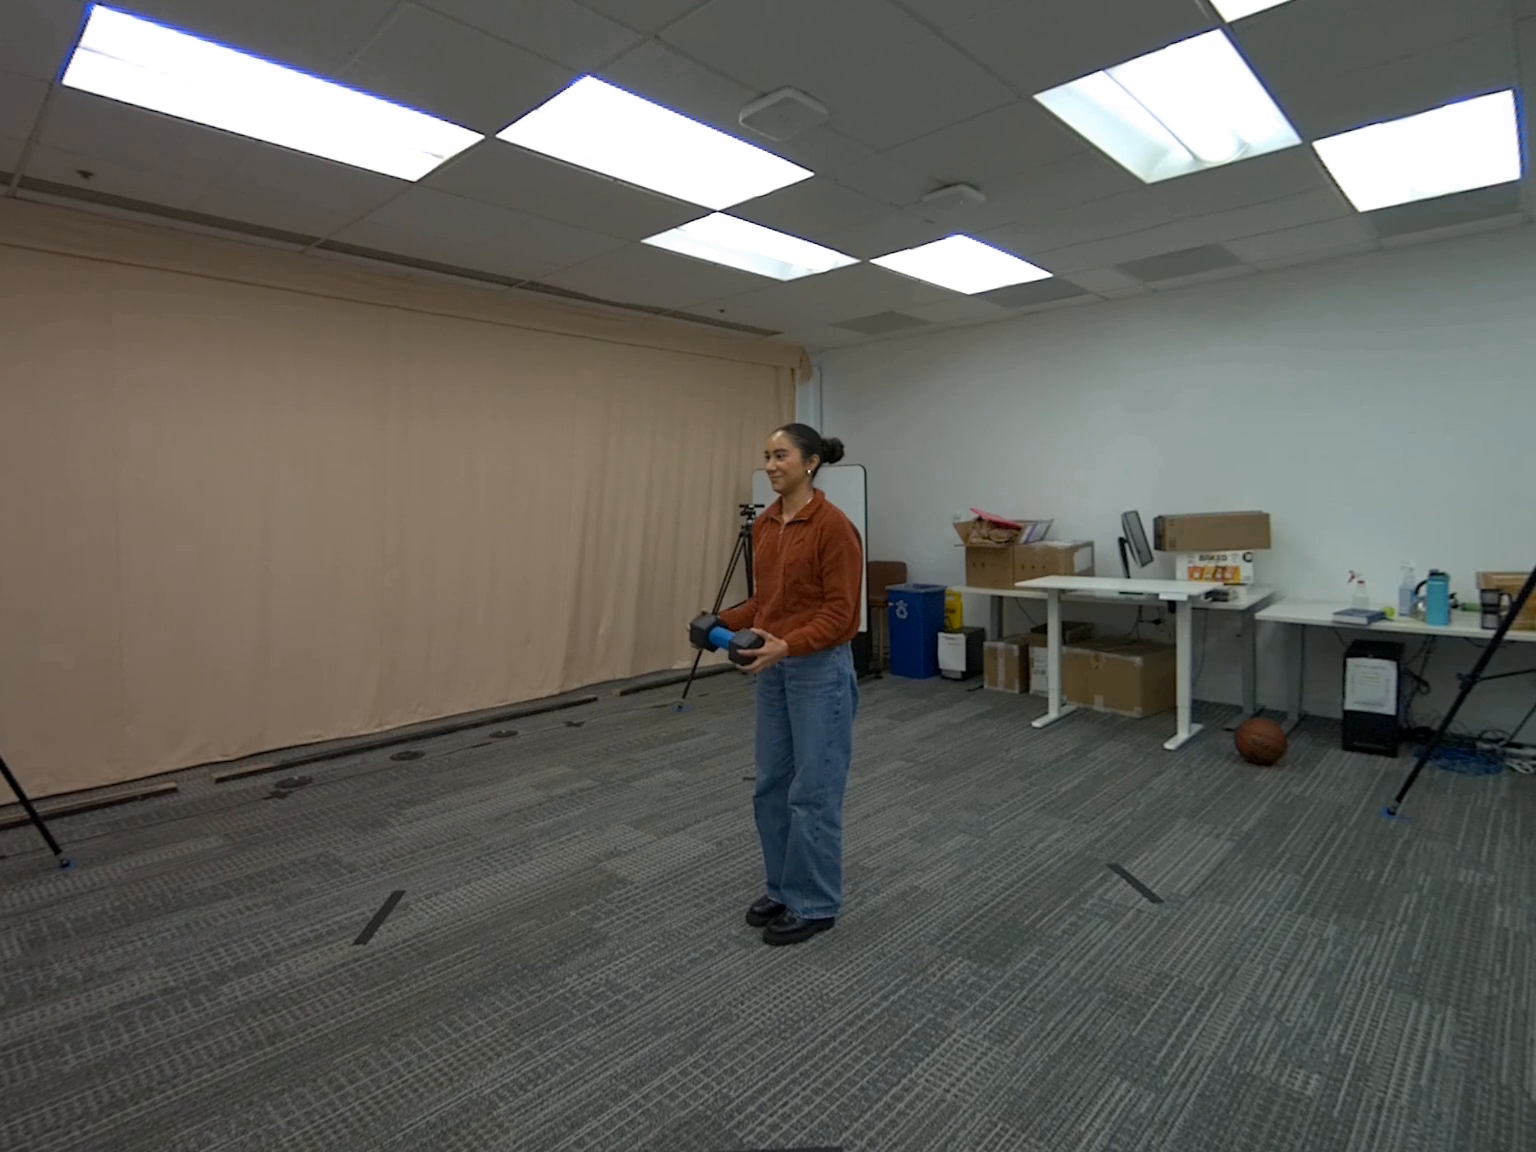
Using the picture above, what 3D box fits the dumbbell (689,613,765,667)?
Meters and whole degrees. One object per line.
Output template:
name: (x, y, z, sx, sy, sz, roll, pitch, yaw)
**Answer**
dumbbell: (-0.106, 0.199, 2.619, 0.122, 0.106, 0.303, -36, 27, -20)
